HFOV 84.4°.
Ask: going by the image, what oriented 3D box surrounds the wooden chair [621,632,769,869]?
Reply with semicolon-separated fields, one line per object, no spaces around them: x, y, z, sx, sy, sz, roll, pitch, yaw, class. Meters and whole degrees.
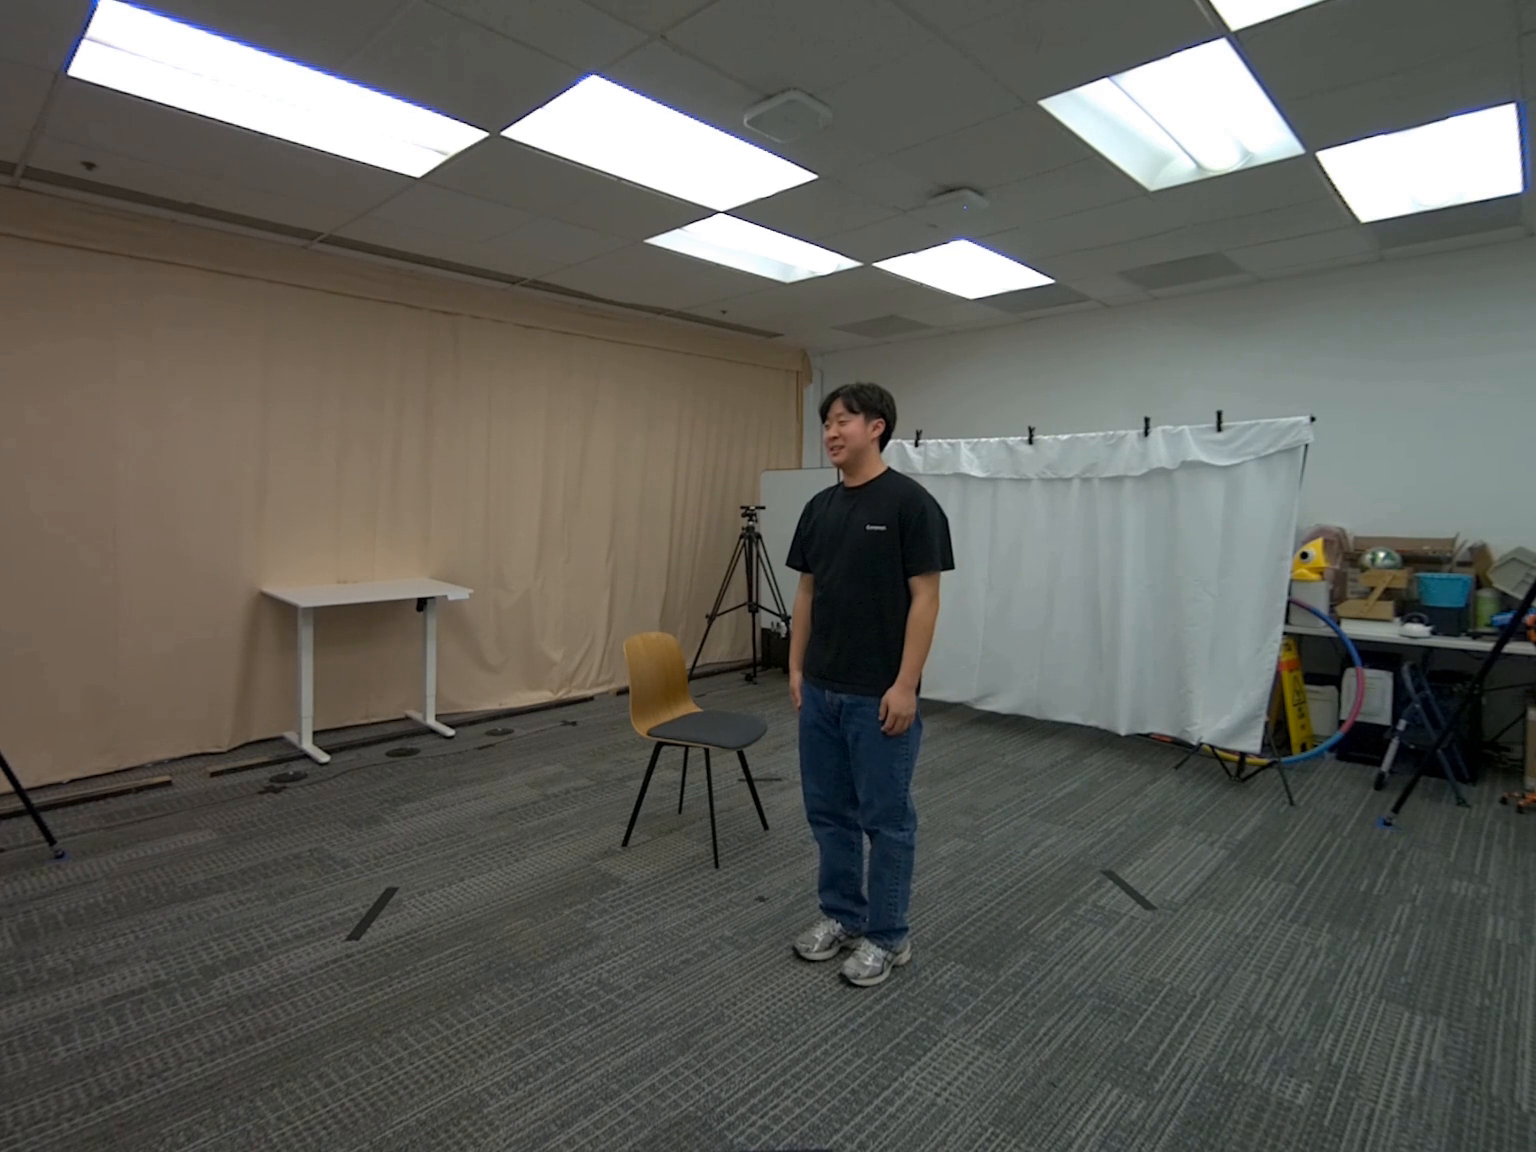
-0.293;0.676;3.501;0.537;0.877;0.466;-4;1;28;wooden chair
